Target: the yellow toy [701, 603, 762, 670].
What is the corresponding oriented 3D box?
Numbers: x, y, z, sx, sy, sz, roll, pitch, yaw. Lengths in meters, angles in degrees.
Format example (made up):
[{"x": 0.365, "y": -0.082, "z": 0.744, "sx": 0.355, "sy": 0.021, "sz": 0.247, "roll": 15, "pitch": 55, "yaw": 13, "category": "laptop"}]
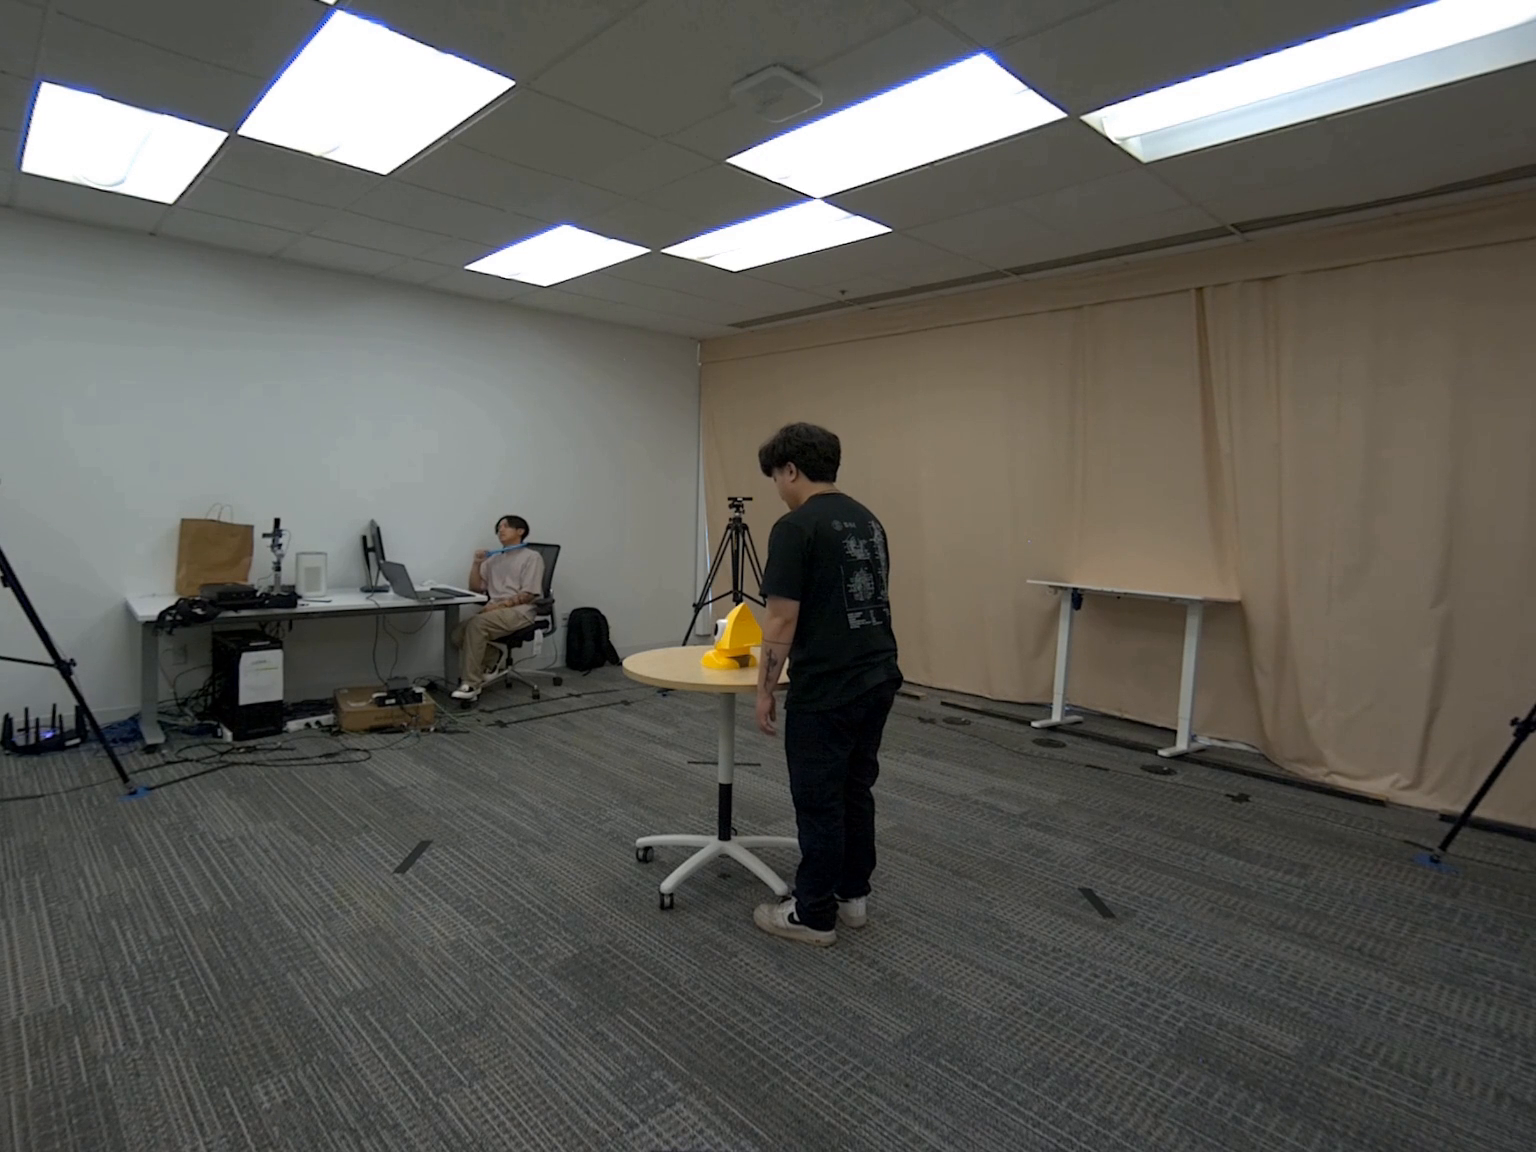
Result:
[{"x": -0.140, "y": 0.205, "z": 3.032, "sx": 0.198, "sy": 0.230, "sz": 0.200, "roll": 3, "pitch": 4, "yaw": 44, "category": "yellow toy"}]
